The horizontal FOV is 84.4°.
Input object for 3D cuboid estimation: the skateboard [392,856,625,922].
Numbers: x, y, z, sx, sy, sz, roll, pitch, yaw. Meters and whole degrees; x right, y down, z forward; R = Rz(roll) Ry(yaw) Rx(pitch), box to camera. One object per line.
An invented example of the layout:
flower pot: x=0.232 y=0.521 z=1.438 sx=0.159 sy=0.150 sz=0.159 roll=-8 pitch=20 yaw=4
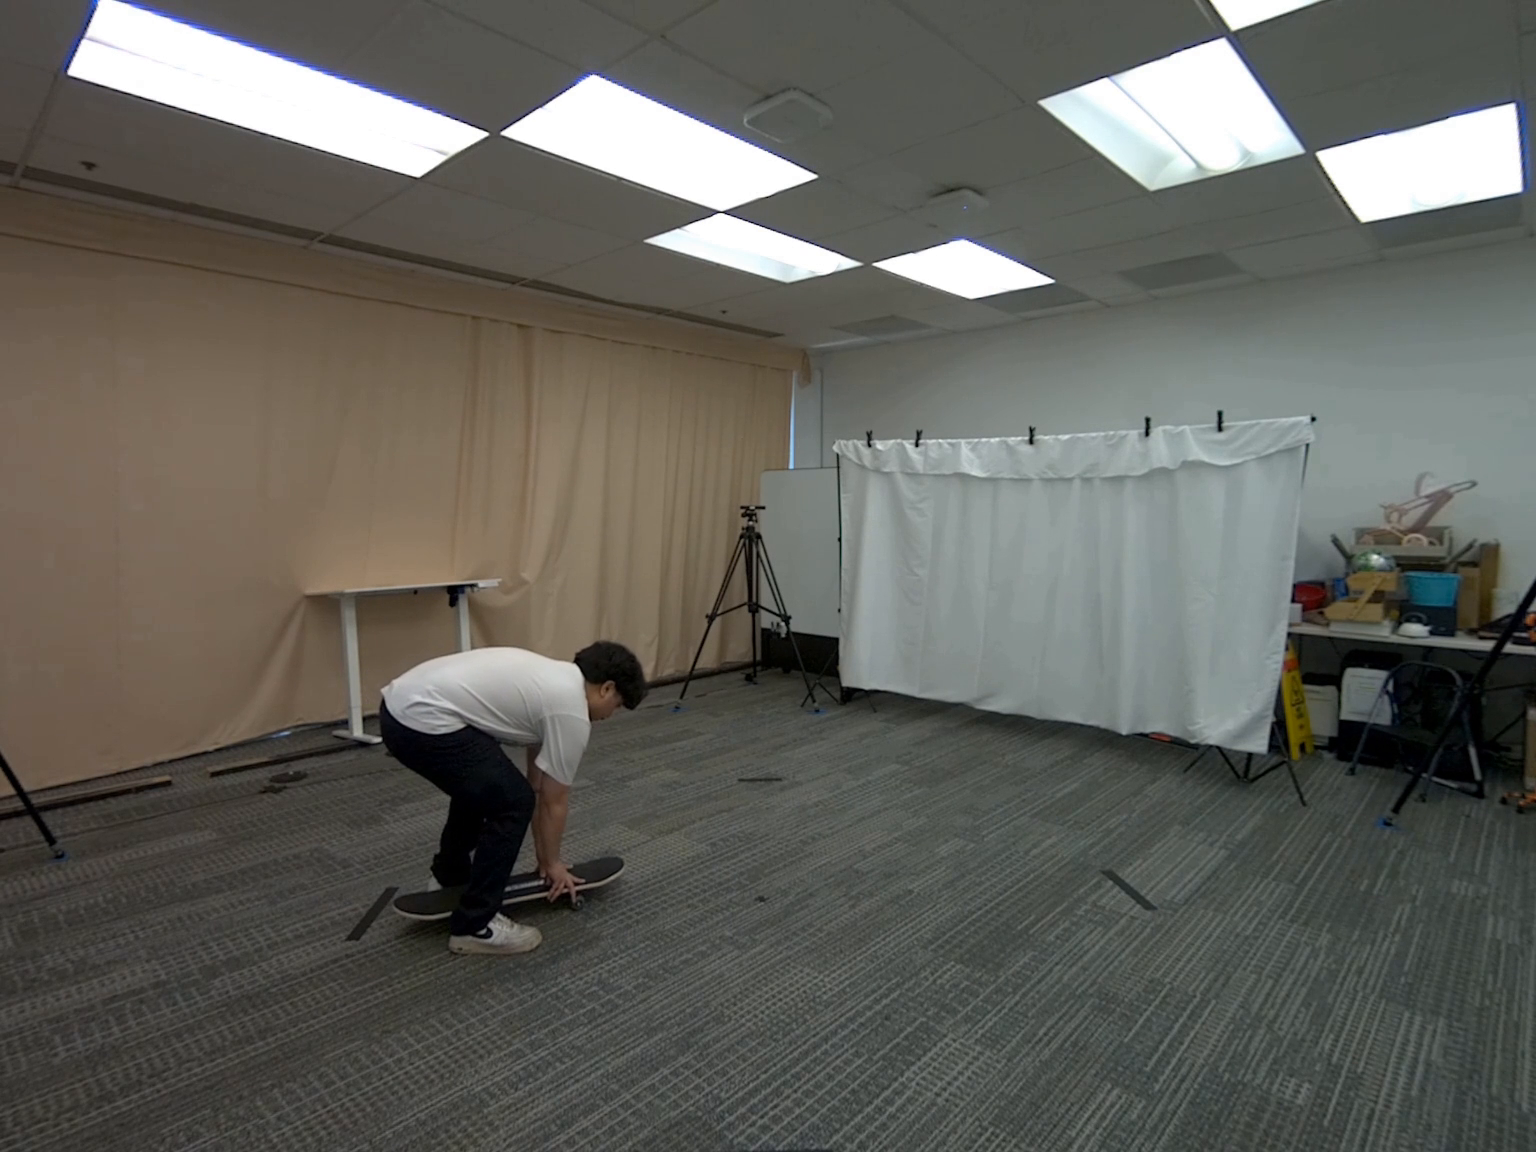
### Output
skateboard: x=-0.871 y=1.112 z=2.891 sx=0.767 sy=0.110 sz=0.198 roll=-3 pitch=4 yaw=-25
